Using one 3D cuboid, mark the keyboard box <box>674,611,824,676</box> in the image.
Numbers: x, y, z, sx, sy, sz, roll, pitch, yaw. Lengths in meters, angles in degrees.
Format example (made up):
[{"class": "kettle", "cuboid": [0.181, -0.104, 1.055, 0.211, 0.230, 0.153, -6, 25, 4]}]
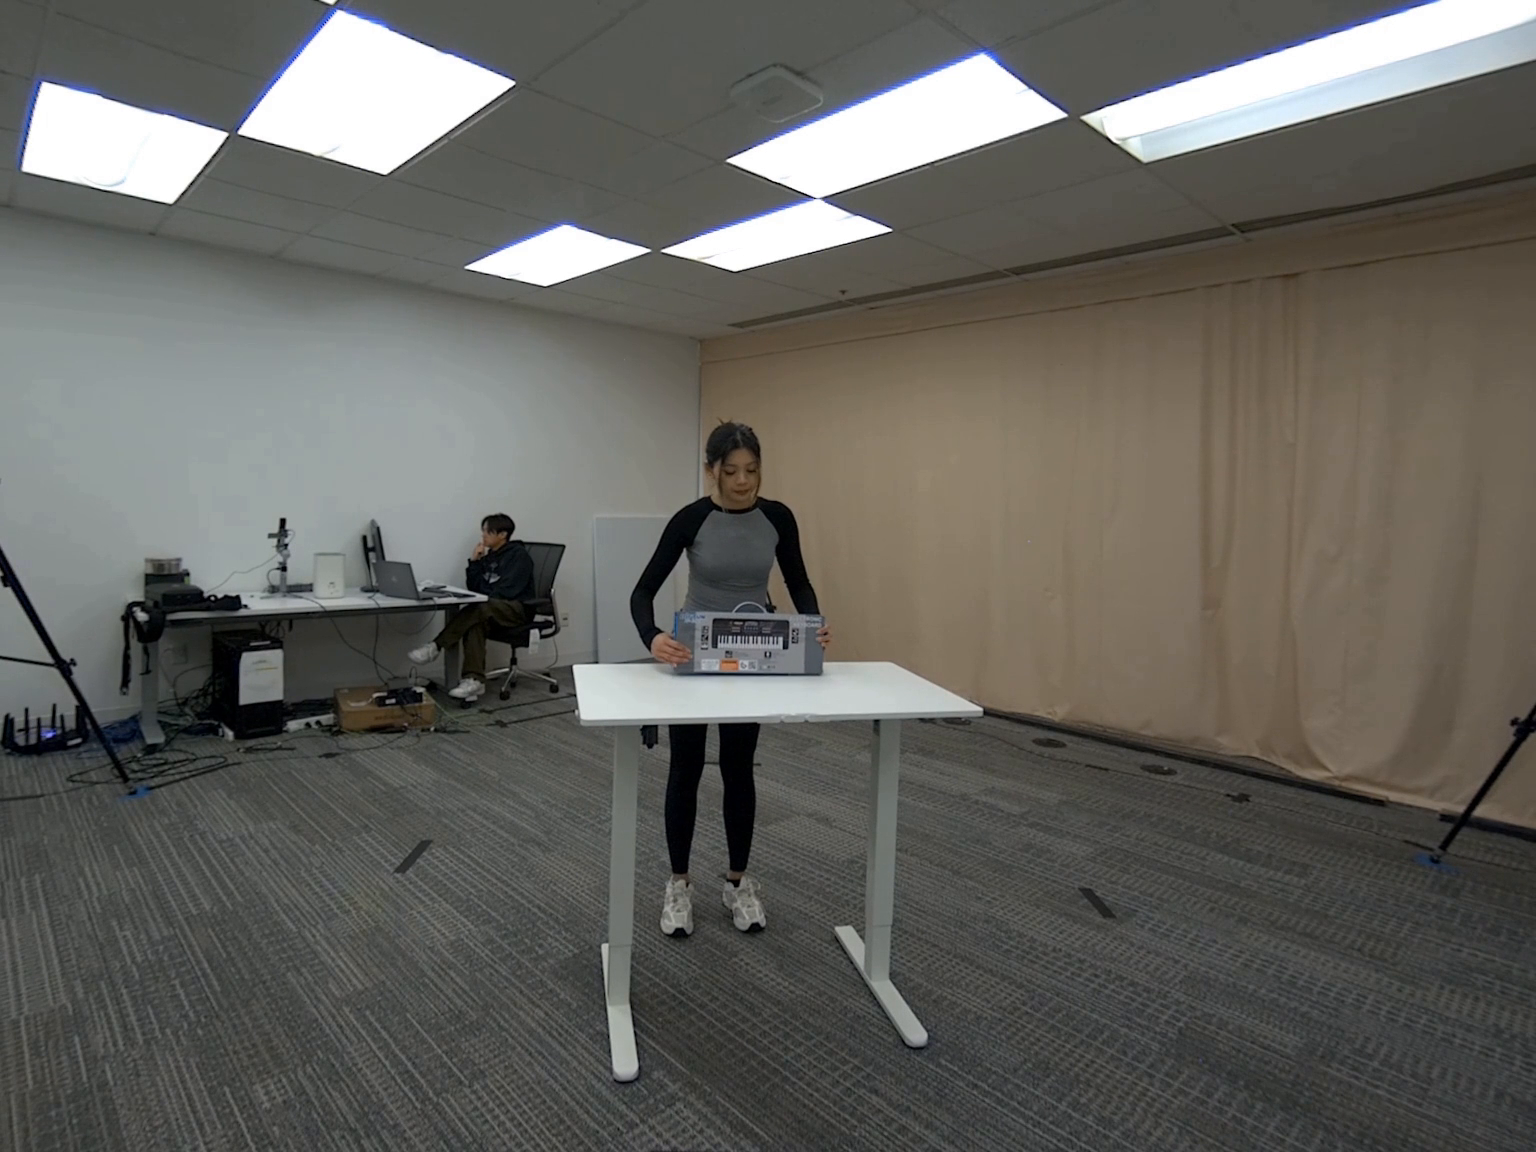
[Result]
[{"class": "keyboard box", "cuboid": [-0.068, 0.196, 2.435, 0.432, 0.176, 0.059, 3, -3, -11]}]
